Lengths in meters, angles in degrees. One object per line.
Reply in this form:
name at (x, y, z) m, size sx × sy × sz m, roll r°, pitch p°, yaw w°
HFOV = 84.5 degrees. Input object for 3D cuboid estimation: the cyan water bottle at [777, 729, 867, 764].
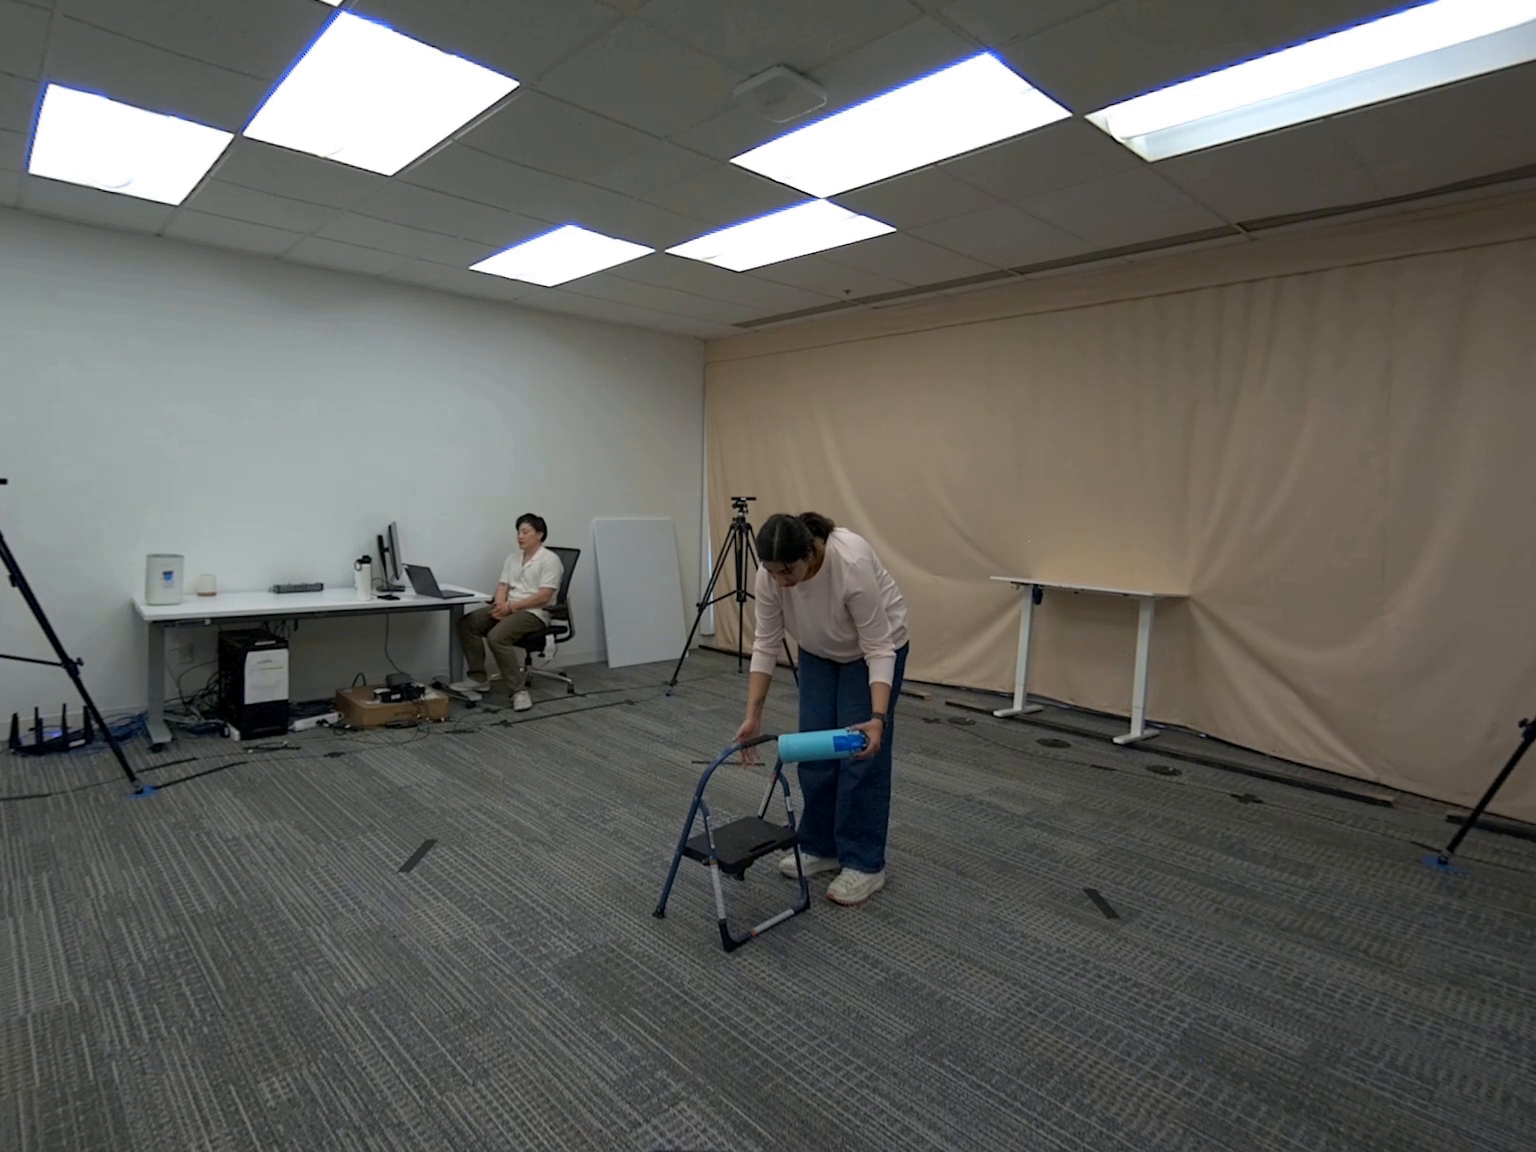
cyan water bottle at (0.169, 0.534, 2.668) m, size 0.286 × 0.092 × 0.091 m, roll -7°, pitch 2°, yaw 12°
